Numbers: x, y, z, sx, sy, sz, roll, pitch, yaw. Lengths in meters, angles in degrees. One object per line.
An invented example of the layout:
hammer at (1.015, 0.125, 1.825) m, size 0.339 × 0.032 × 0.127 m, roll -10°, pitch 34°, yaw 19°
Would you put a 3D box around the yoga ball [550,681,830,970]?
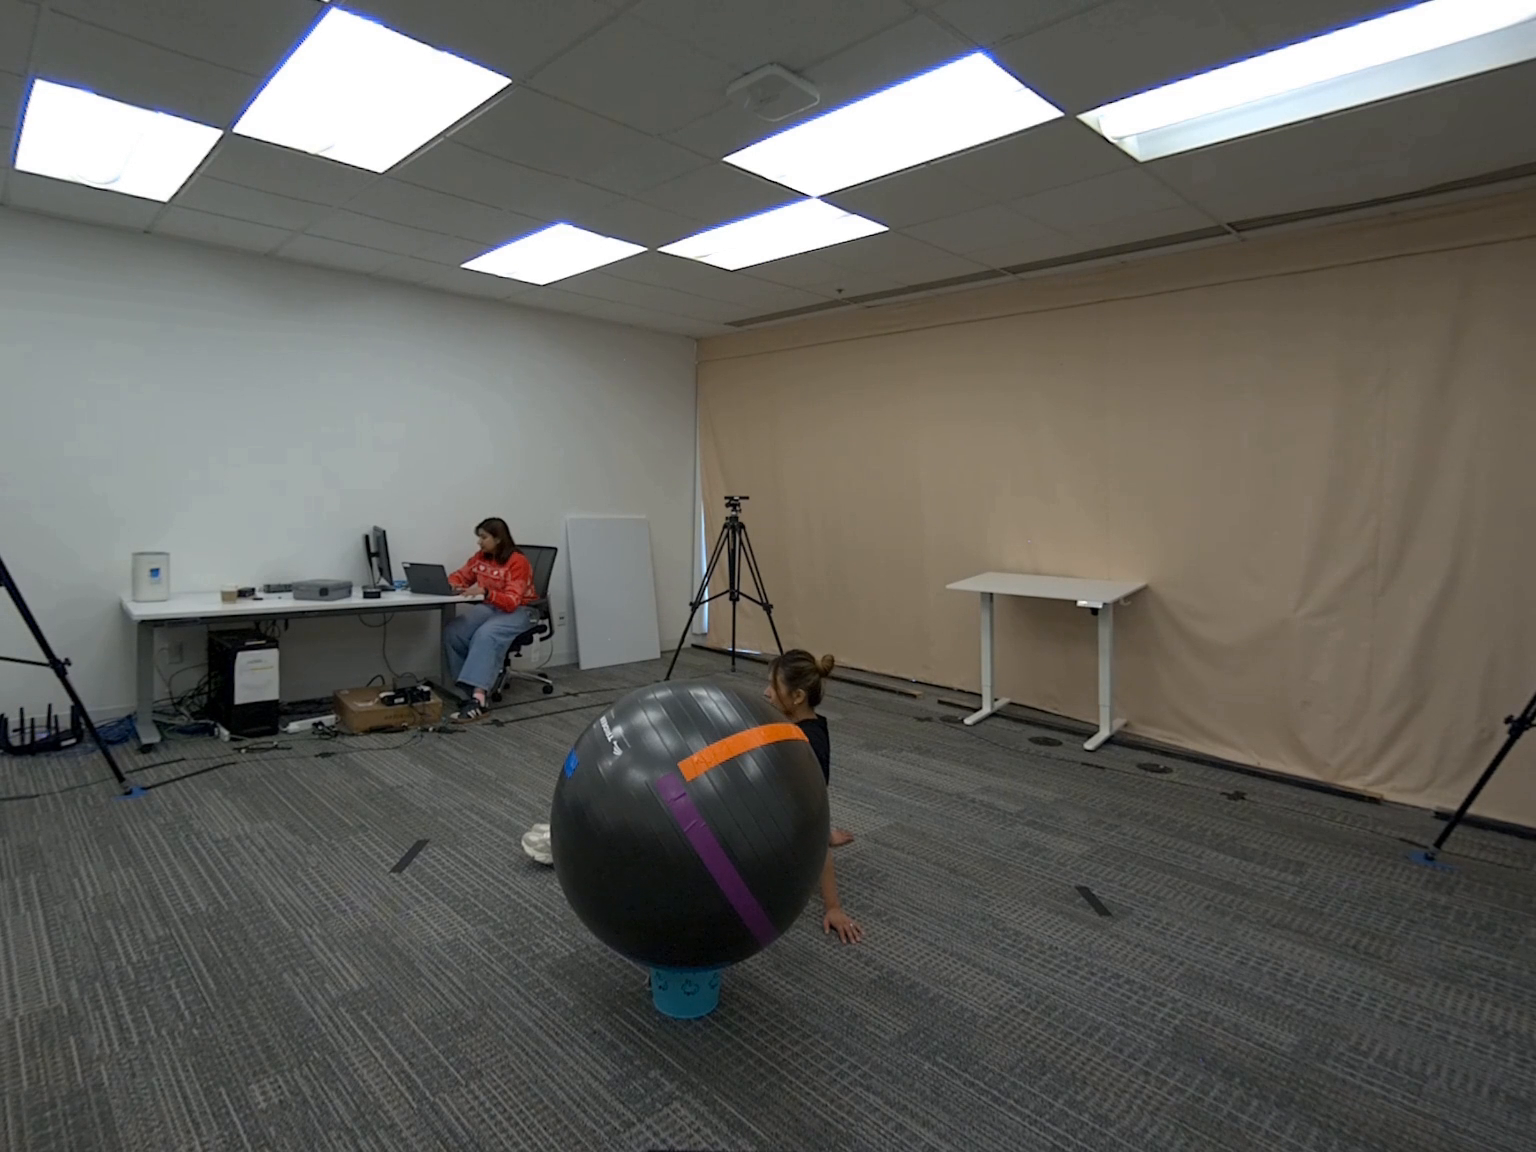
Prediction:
yoga ball at (-0.212, 0.671, 2.295) m, size 0.757 × 0.756 × 0.761 m, roll 1°, pitch 4°, yaw -1°
